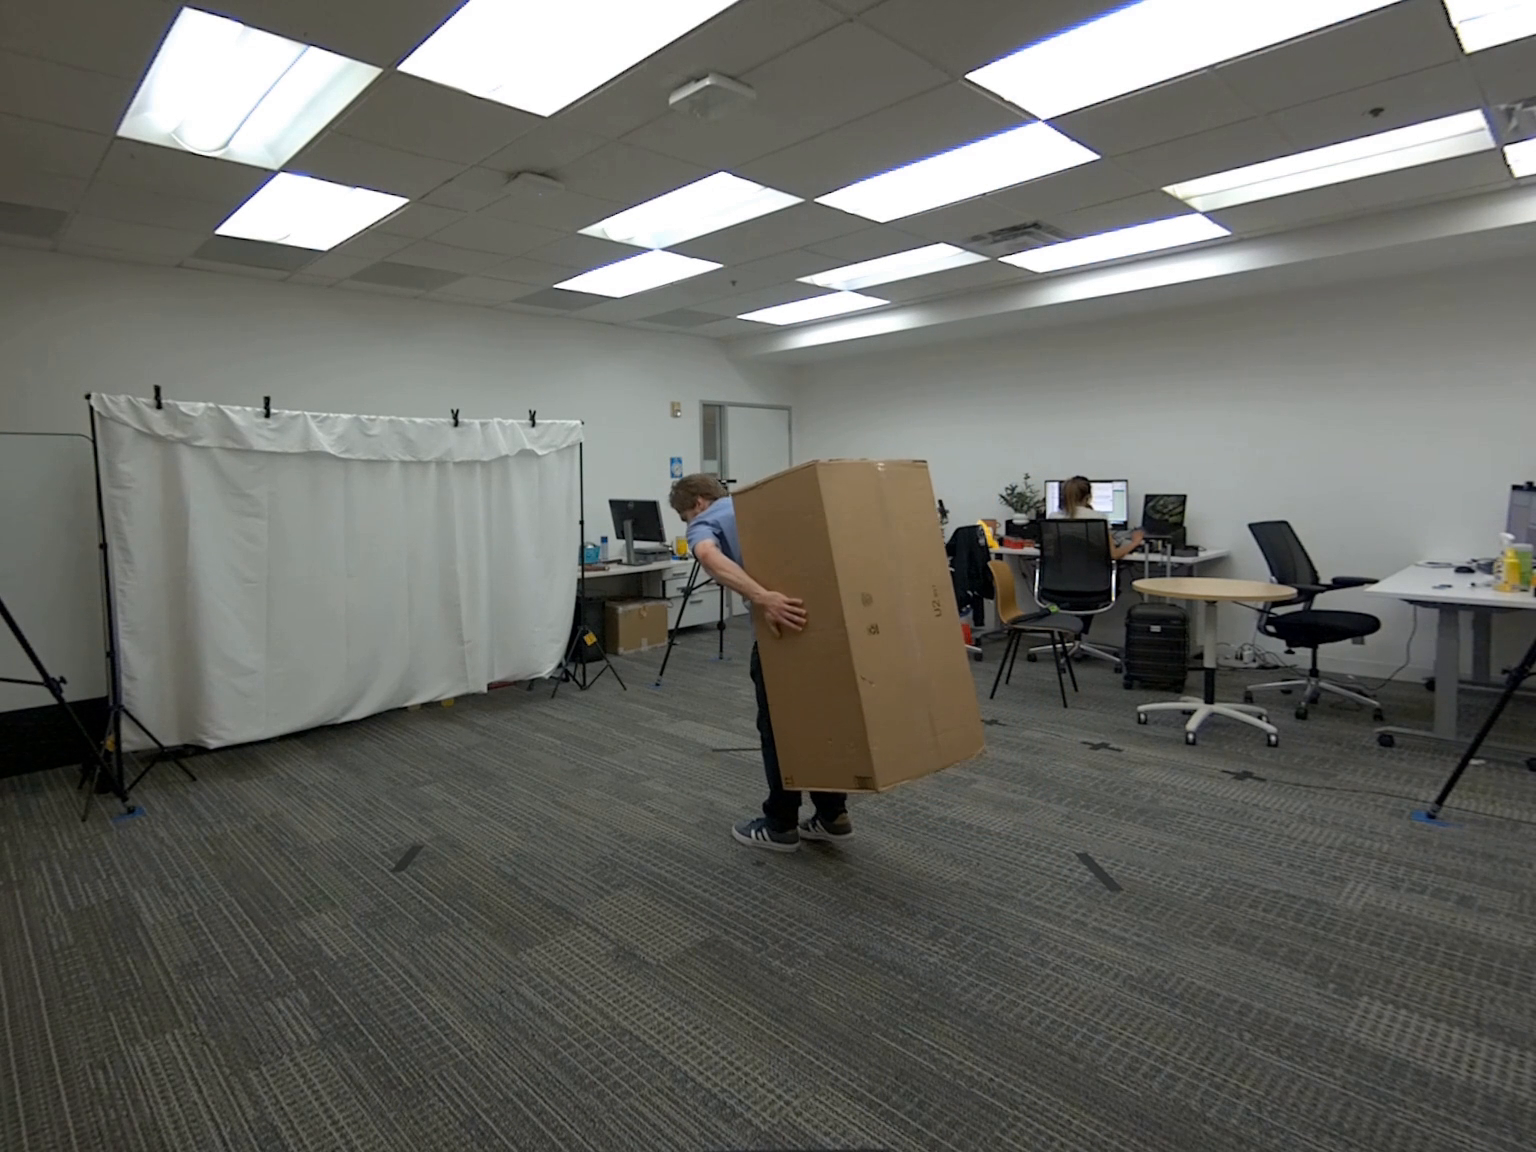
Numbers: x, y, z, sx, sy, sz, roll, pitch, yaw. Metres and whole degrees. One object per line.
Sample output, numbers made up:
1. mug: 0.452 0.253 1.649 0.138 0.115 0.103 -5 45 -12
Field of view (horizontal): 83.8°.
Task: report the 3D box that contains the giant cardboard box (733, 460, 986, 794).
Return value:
1. giant cardboard box: 0.309 0.159 2.919 0.568 1.034 0.456 -5 -8 -42
